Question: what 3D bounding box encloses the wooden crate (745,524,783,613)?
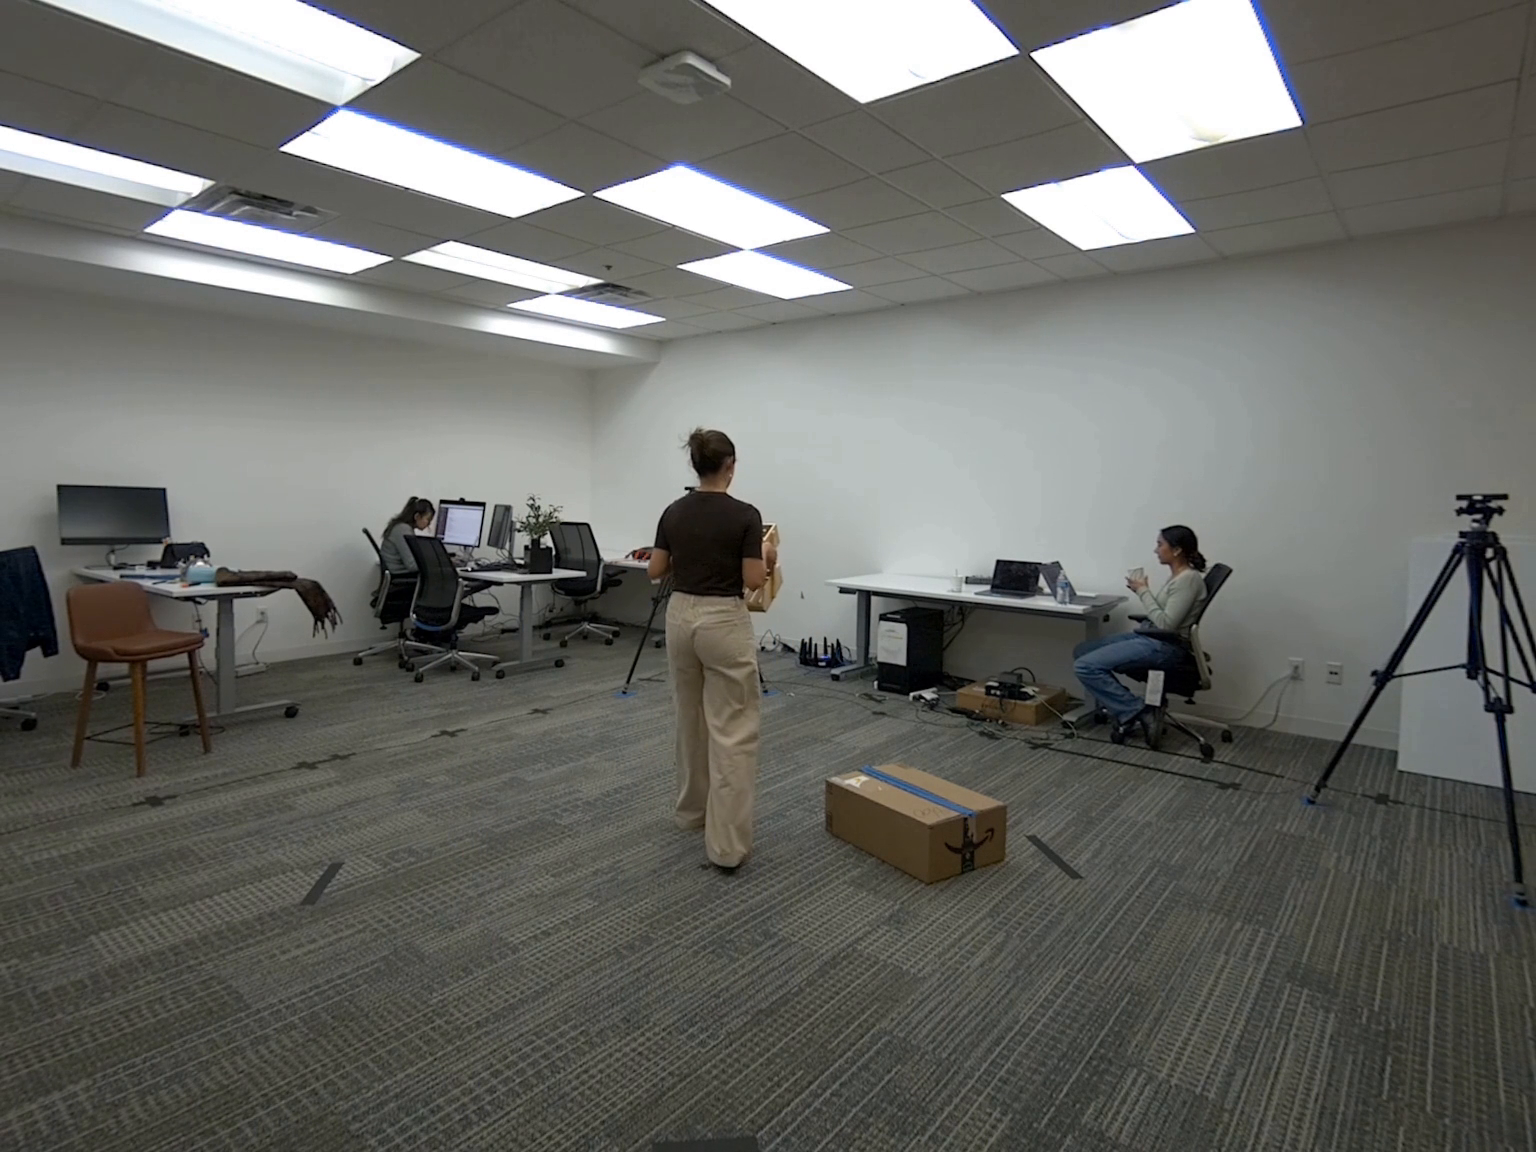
[{"bbox_3d":[-0.137,-0.043,3.556,0.332,0.266,0.303,0,29,24],"label":"wooden crate"}]
